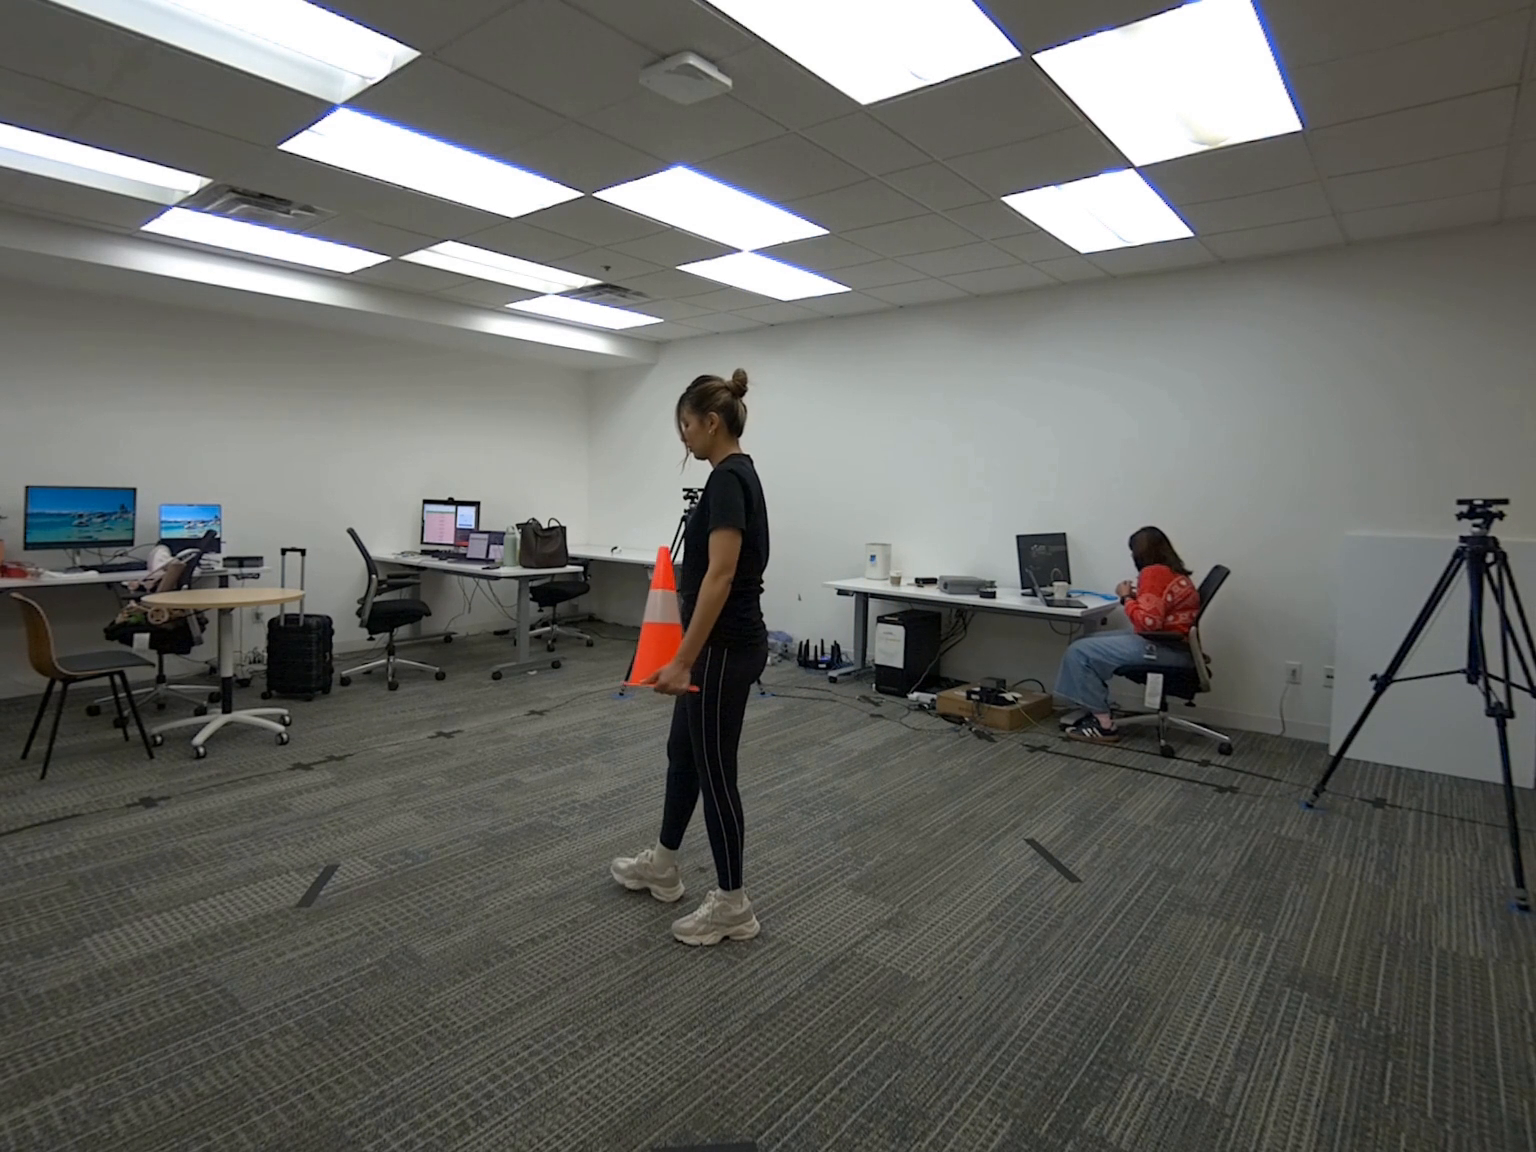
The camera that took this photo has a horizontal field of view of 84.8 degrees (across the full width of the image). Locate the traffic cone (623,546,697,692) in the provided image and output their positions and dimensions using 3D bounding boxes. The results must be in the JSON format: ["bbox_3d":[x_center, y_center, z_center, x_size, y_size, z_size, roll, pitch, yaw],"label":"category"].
[{"bbox_3d":[-0.289,0.105,2.346,0.202,0.387,0.205,3,-8,-16],"label":"traffic cone"}]
